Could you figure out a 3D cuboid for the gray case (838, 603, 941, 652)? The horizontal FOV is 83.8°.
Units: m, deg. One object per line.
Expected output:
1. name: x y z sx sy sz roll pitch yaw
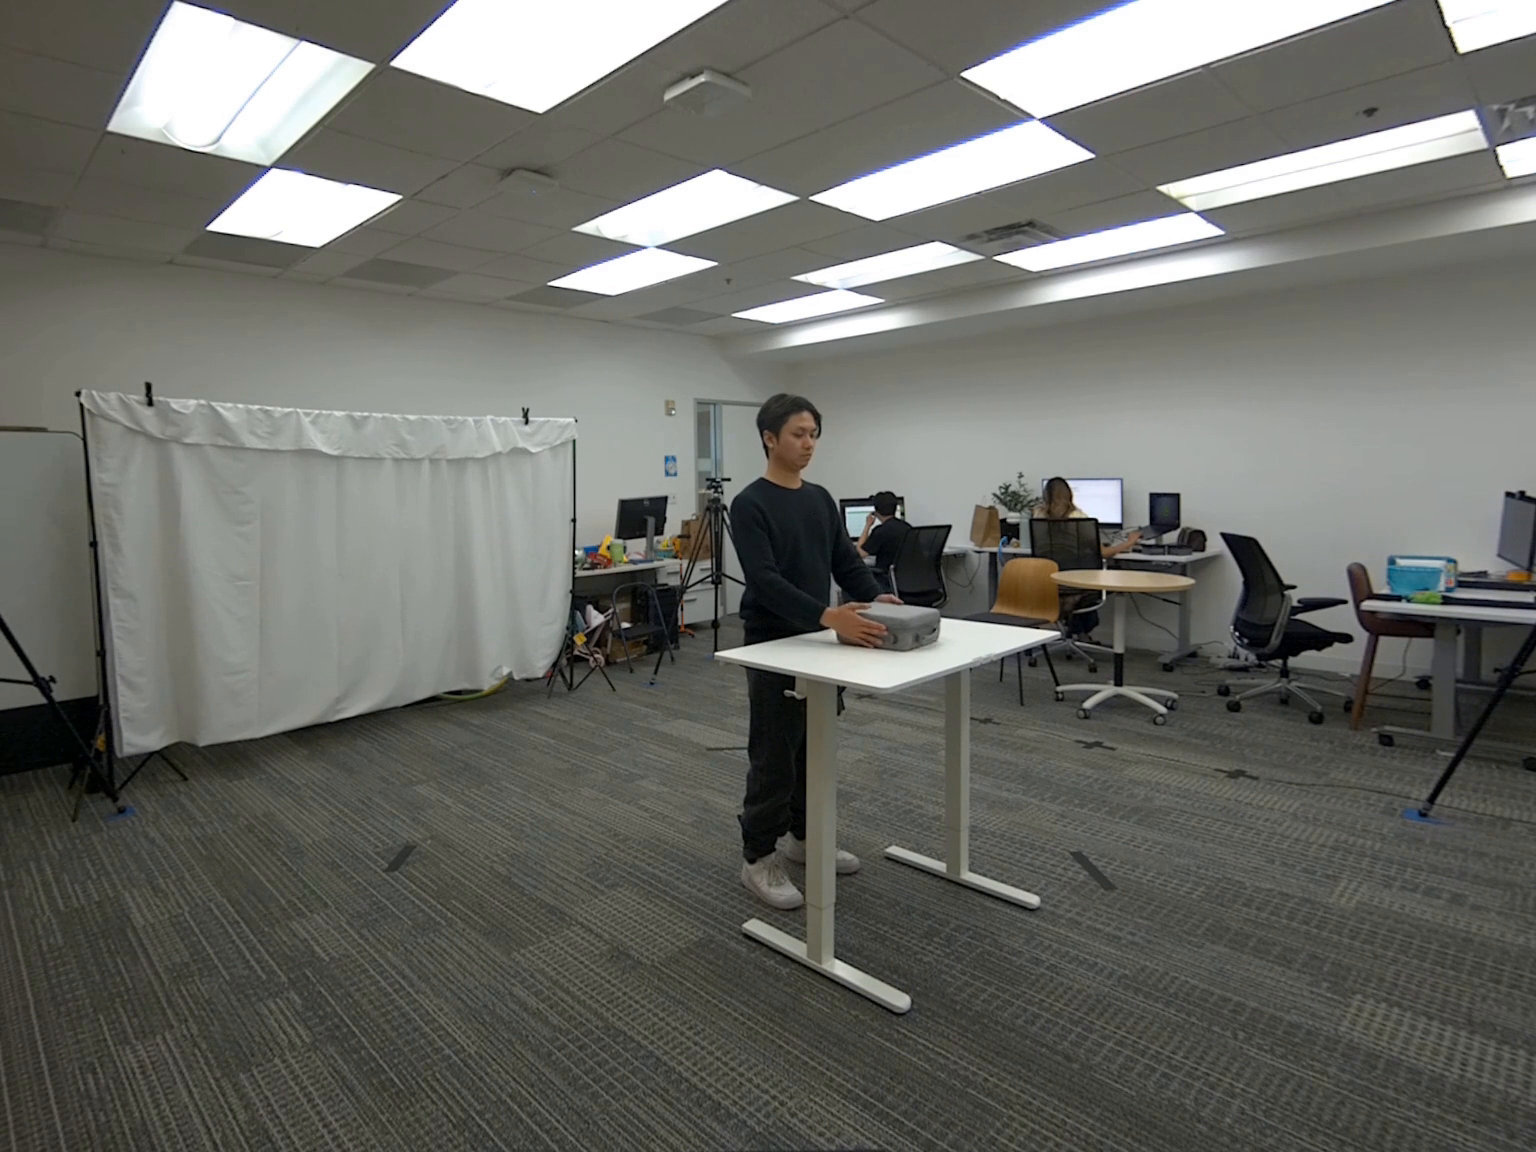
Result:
1. gray case: 0.380 0.154 2.645 0.268 0.104 0.250 5 7 35
